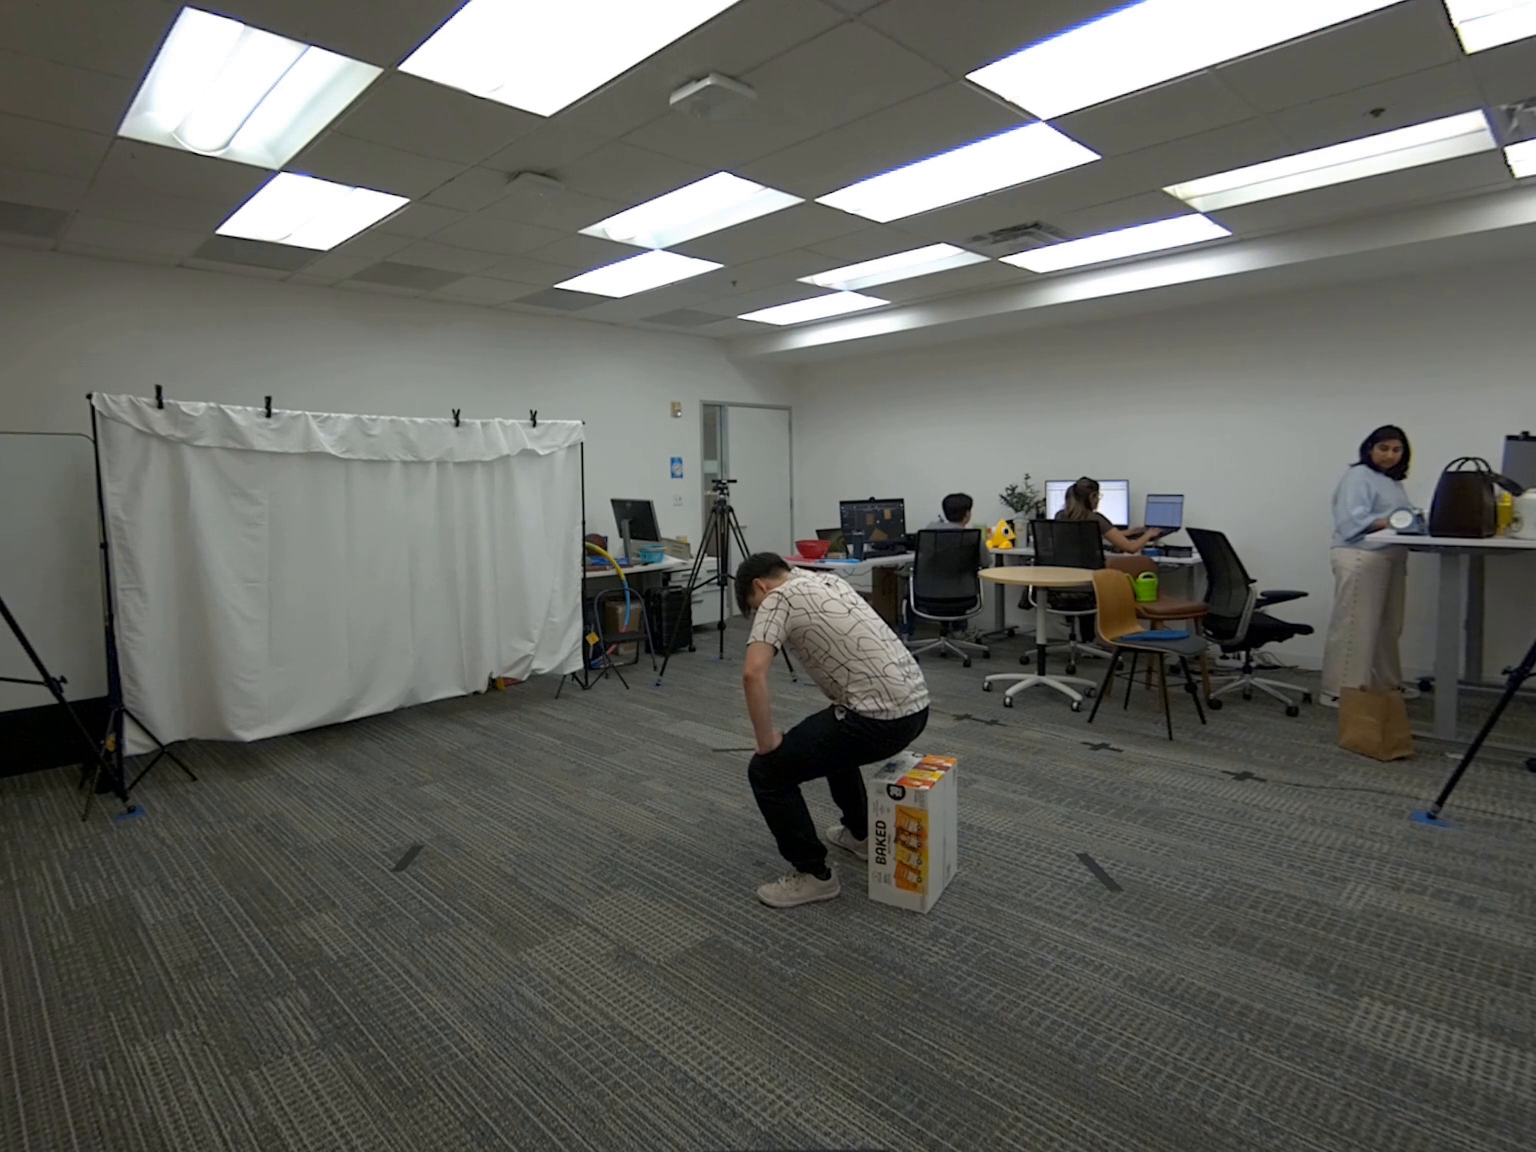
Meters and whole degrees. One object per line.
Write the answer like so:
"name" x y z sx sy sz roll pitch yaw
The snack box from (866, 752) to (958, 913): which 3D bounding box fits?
"snack box" 0.503 0.856 2.910 0.211 0.404 0.333 1 5 29
